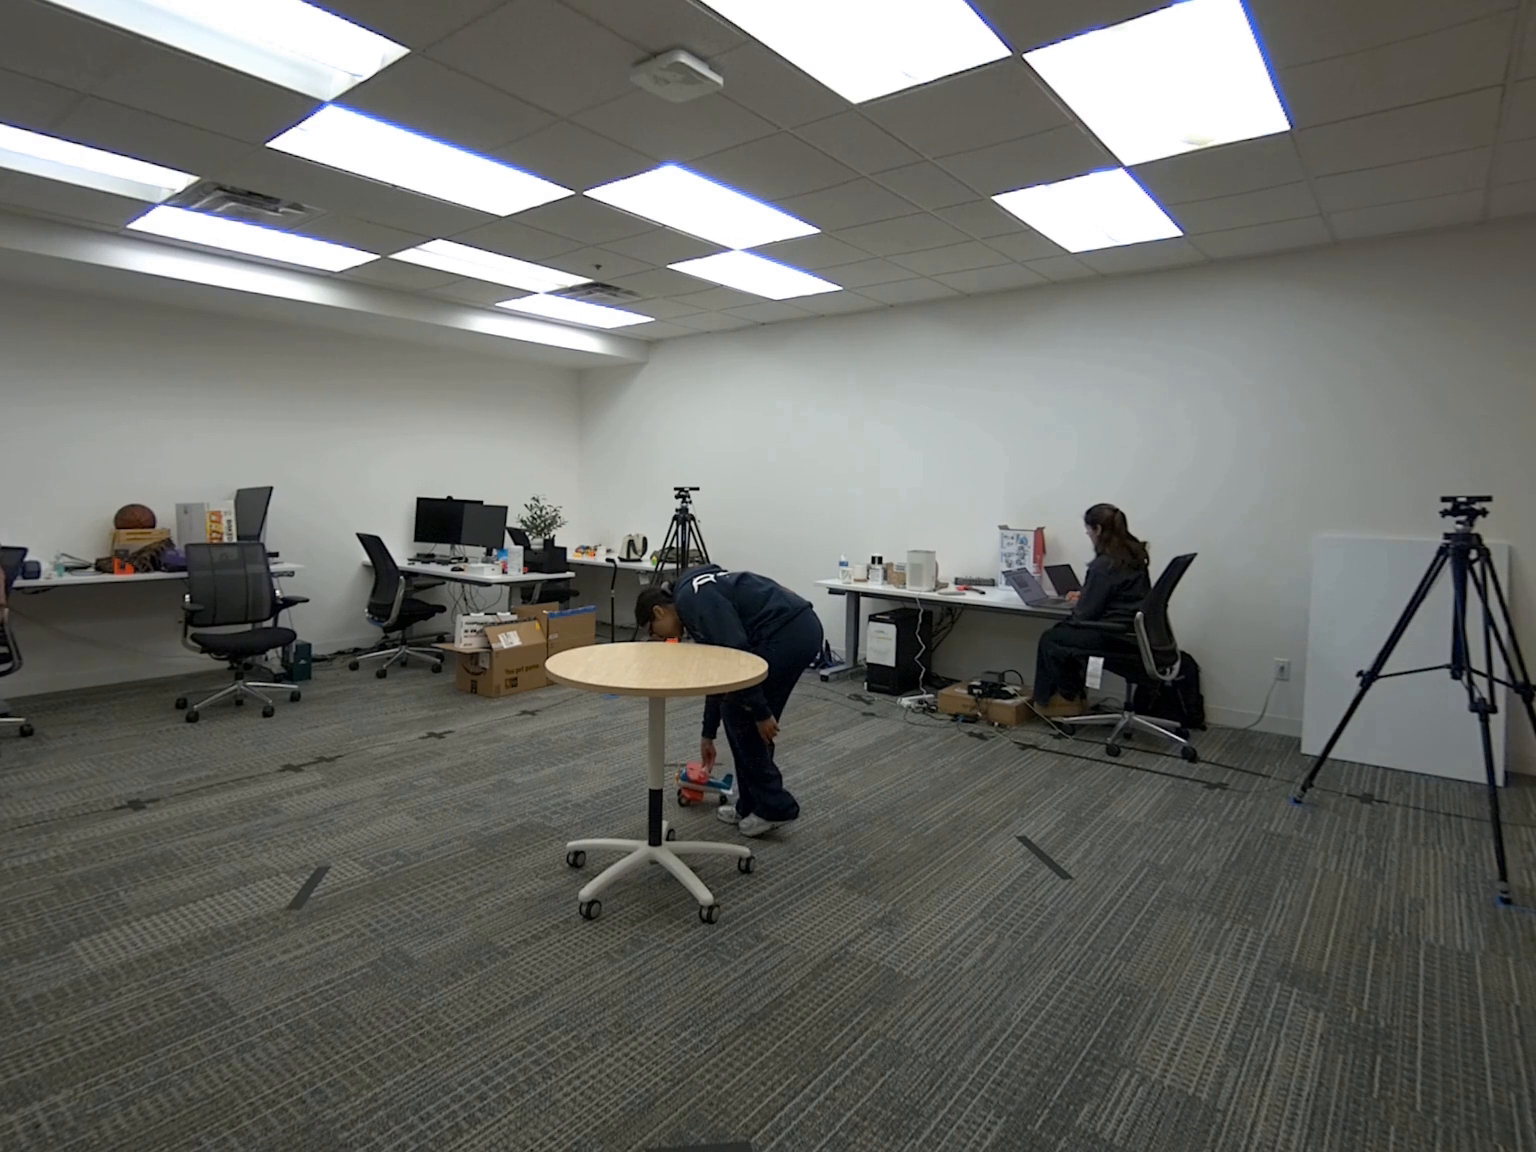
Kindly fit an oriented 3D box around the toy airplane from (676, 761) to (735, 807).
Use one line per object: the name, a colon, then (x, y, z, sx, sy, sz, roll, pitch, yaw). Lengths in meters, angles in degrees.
toy airplane: (-0.306, 0.925, 3.785, 0.252, 0.156, 0.259, -2, 5, -34)
